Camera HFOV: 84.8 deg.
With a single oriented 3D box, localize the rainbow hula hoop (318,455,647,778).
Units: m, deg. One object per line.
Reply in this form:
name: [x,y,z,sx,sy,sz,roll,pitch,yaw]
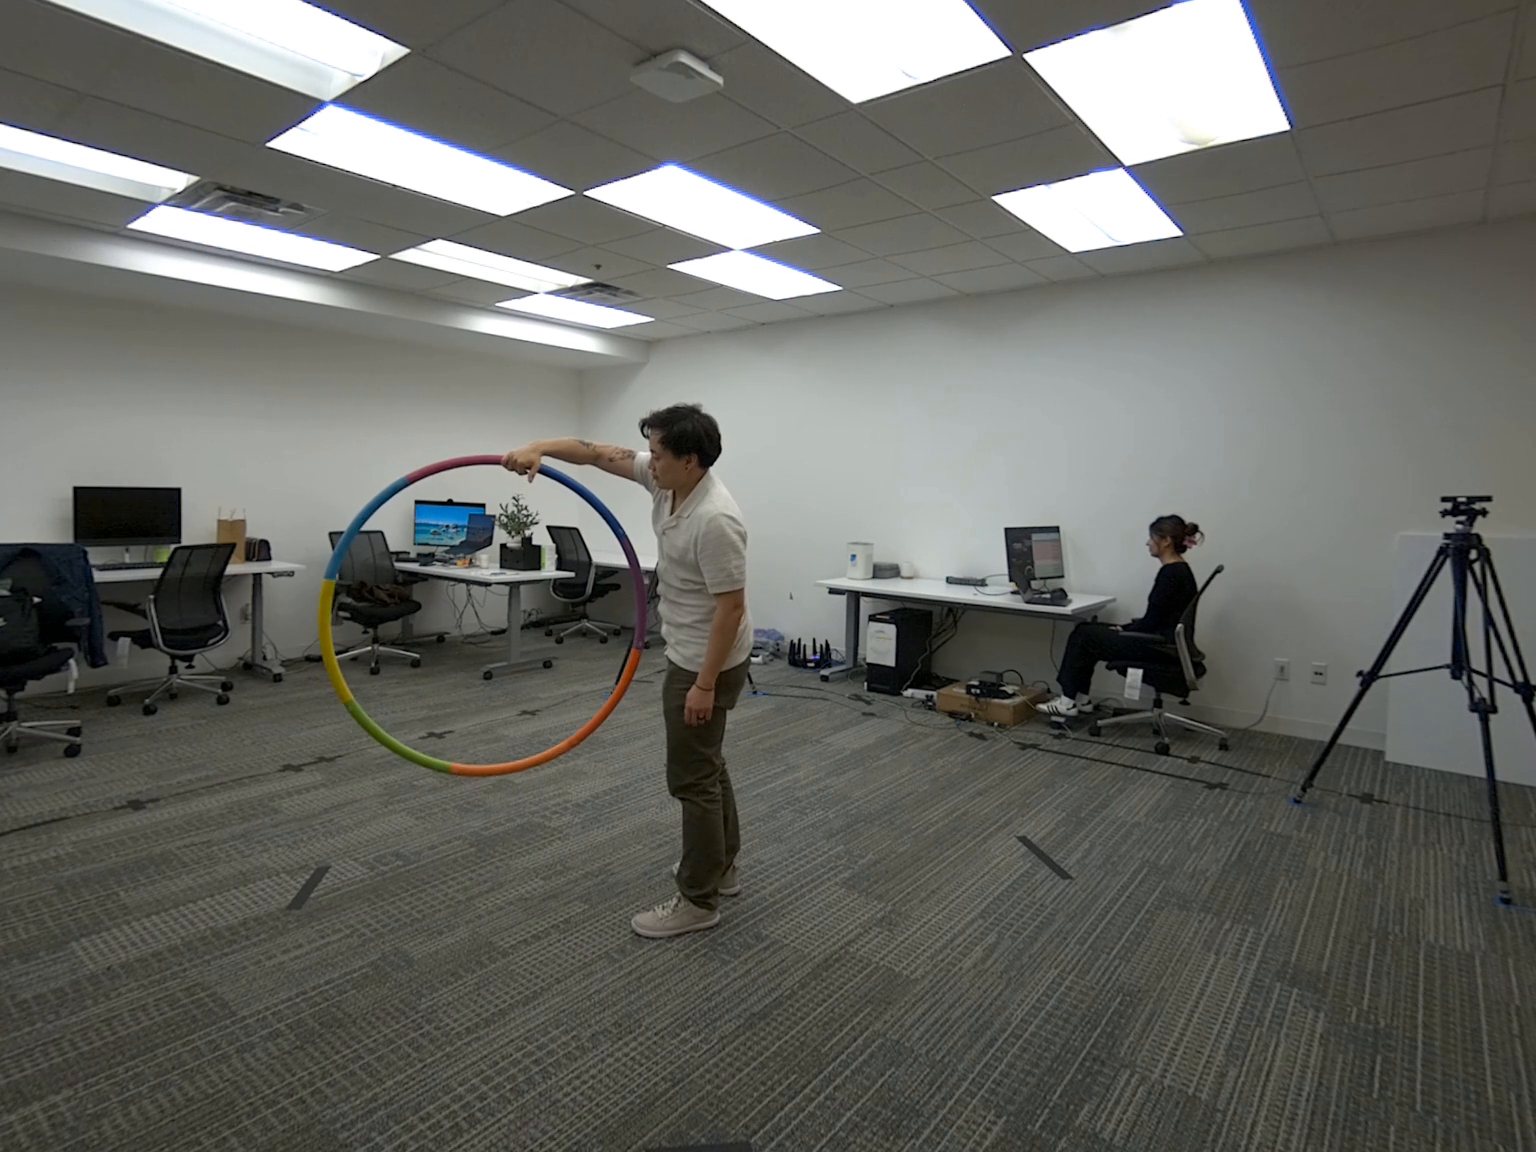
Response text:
rainbow hula hoop: [-0.862,0.119,2.628,0.964,0.978,0.036,0,0,-14]
